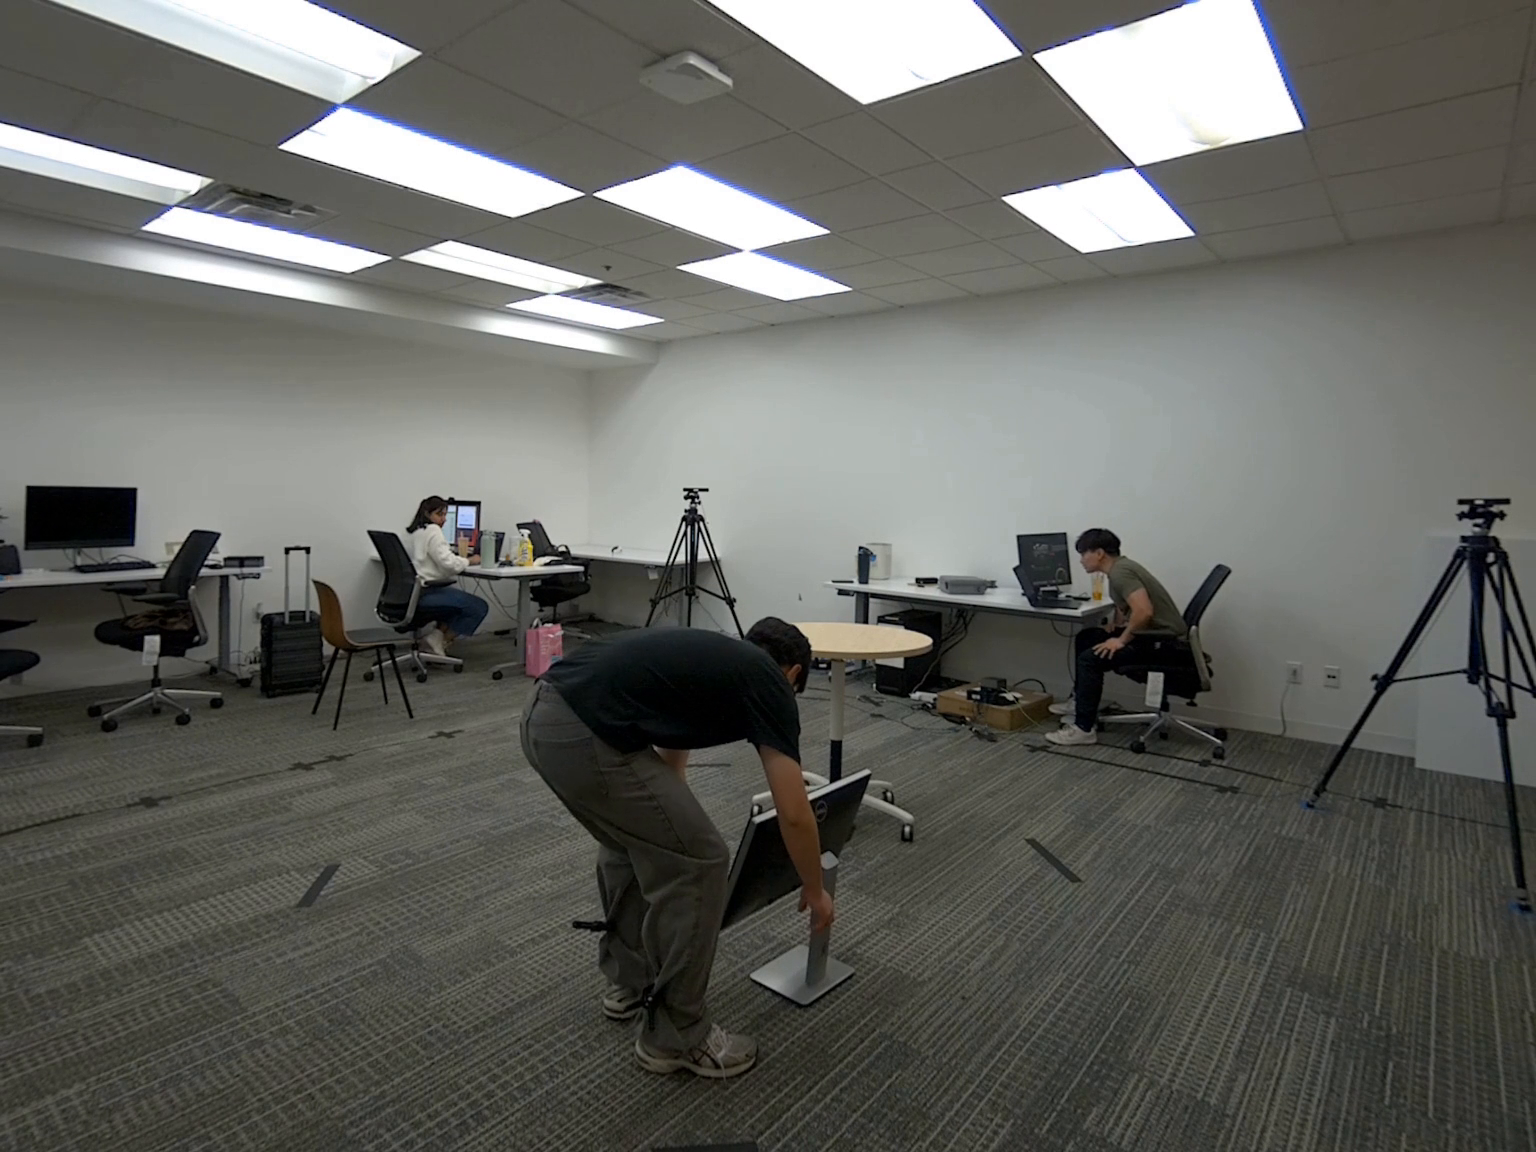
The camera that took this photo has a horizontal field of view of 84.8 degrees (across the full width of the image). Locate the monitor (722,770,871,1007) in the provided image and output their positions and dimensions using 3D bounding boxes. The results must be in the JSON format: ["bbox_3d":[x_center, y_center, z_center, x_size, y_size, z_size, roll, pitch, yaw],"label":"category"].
[{"bbox_3d":[0.103,0.886,2.418,0.230,0.564,0.545,5,6,40],"label":"monitor"}]
